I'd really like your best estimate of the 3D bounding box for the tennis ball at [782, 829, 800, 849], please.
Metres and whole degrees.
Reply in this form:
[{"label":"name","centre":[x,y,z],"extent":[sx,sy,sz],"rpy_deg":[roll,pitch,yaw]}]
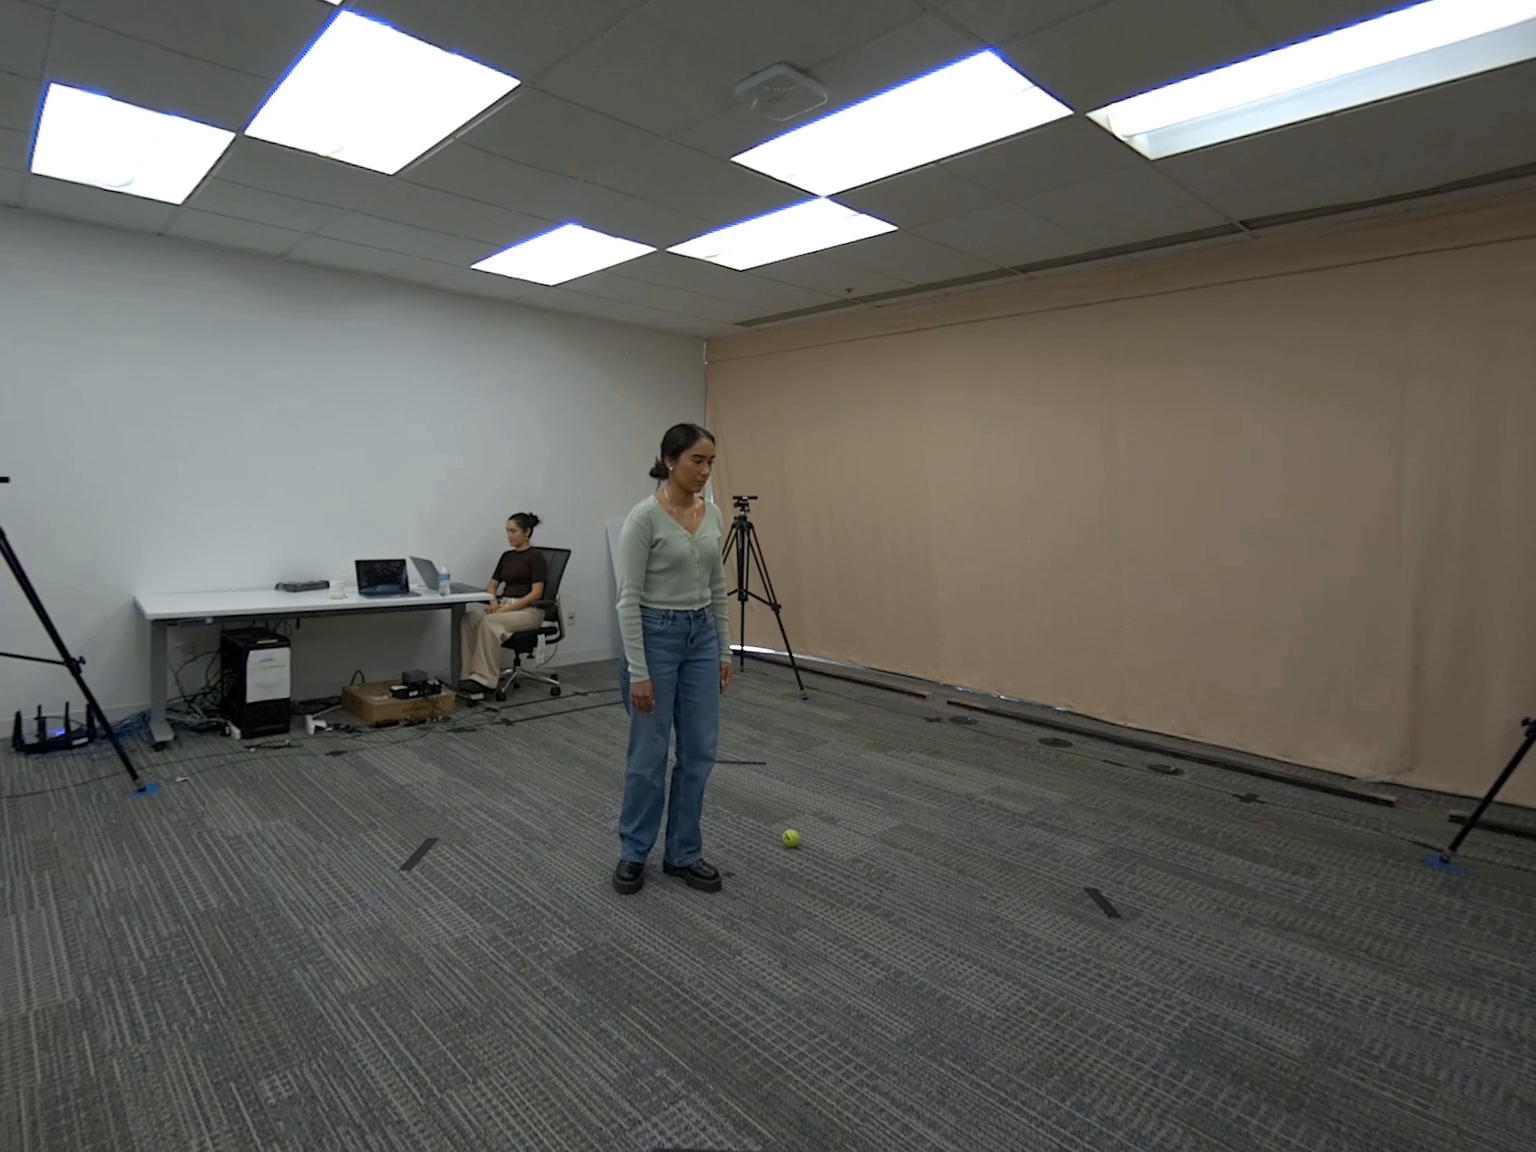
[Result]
[{"label":"tennis ball","centre":[0.083,1.038,3.377],"extent":[0.066,0.066,0.067],"rpy_deg":[1,4,-1]}]
